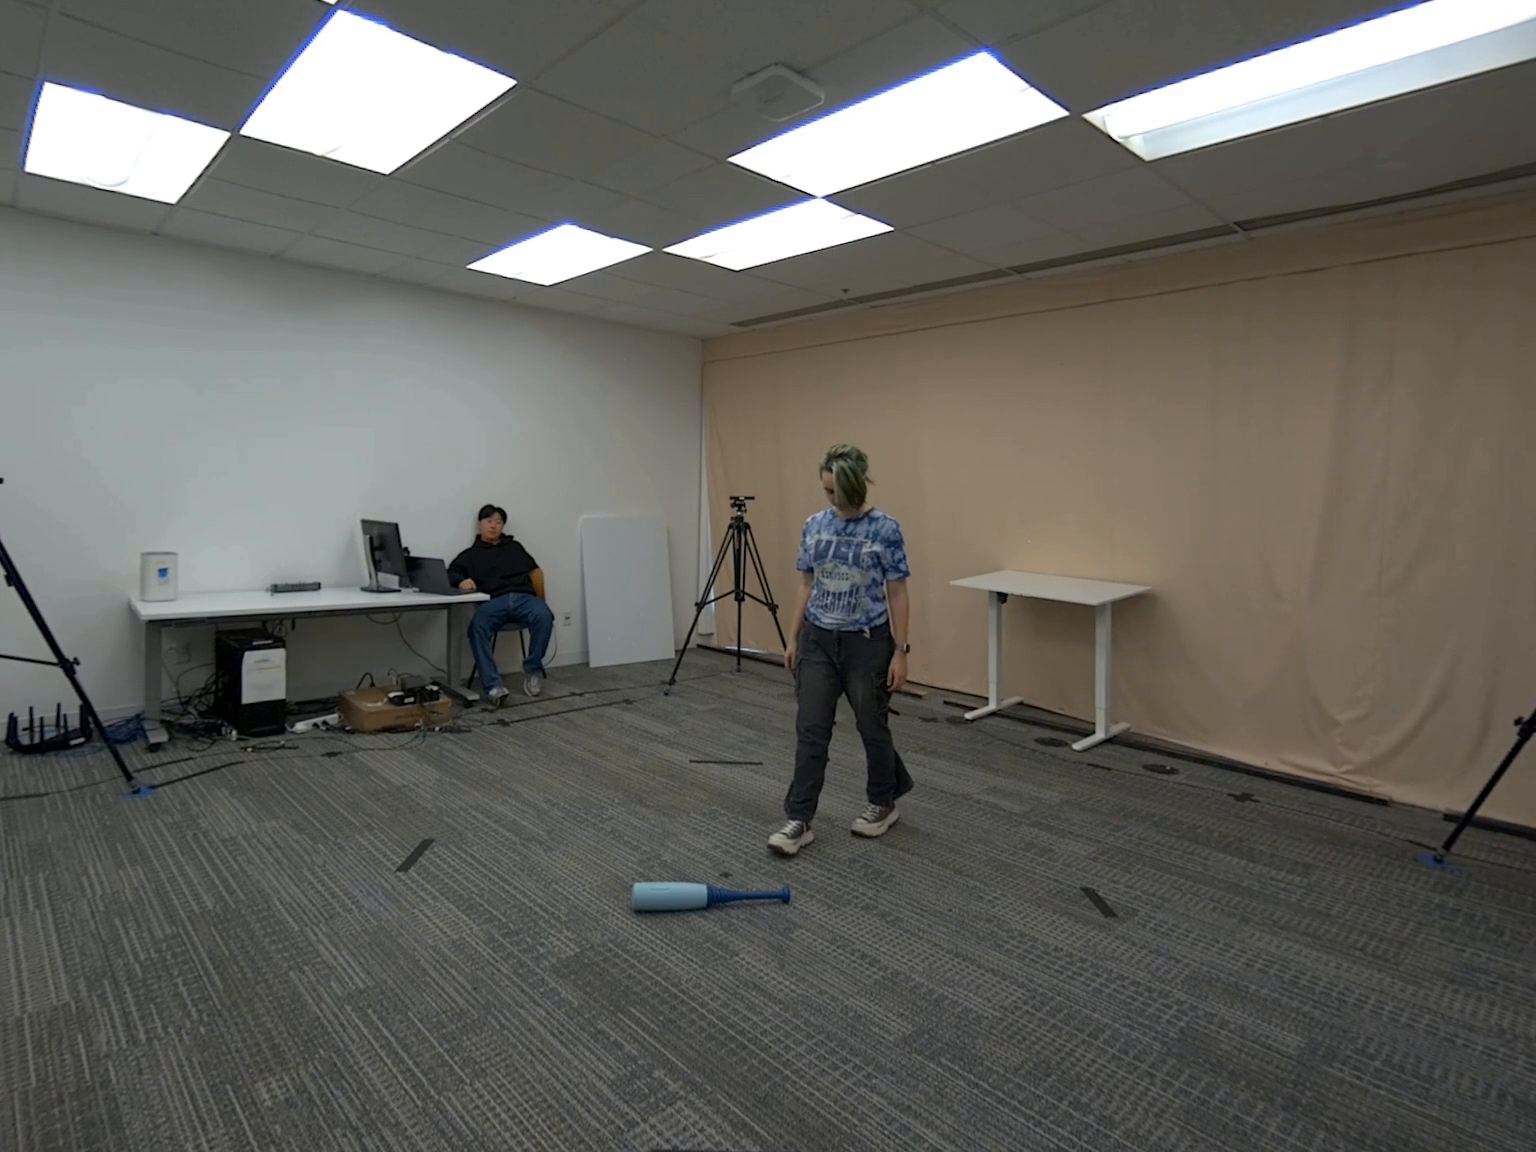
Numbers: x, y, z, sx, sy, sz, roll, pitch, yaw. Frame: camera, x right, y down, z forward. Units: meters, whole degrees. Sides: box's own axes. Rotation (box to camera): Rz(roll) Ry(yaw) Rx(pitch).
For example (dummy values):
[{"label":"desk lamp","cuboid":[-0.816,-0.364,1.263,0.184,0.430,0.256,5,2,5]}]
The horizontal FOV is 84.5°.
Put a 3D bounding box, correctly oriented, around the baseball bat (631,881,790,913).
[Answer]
[{"label":"baseball bat","cuboid":[-0.197,1.092,2.854,0.539,0.089,0.090,4,4,-8]}]
